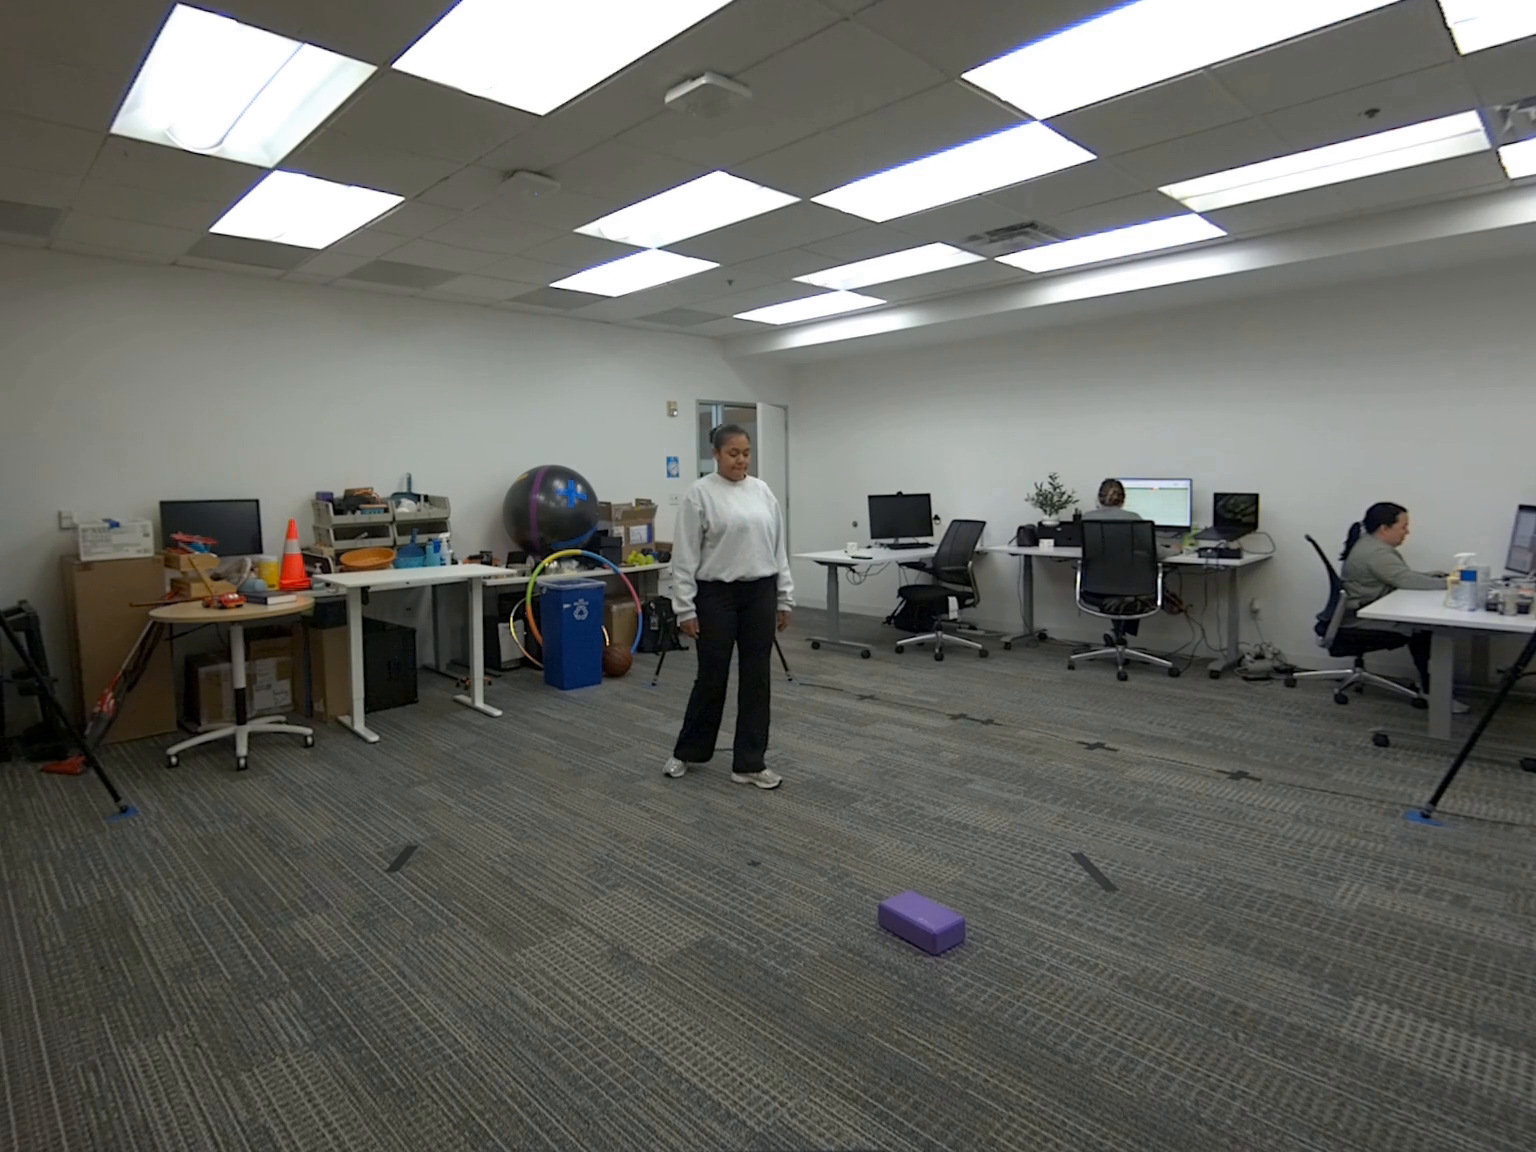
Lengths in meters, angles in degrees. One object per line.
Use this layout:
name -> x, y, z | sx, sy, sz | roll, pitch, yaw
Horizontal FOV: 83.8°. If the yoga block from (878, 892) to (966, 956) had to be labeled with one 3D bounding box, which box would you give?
yoga block -> 0.475, 1.056, 2.605 | 0.145, 0.076, 0.236 | -6, 8, -37
